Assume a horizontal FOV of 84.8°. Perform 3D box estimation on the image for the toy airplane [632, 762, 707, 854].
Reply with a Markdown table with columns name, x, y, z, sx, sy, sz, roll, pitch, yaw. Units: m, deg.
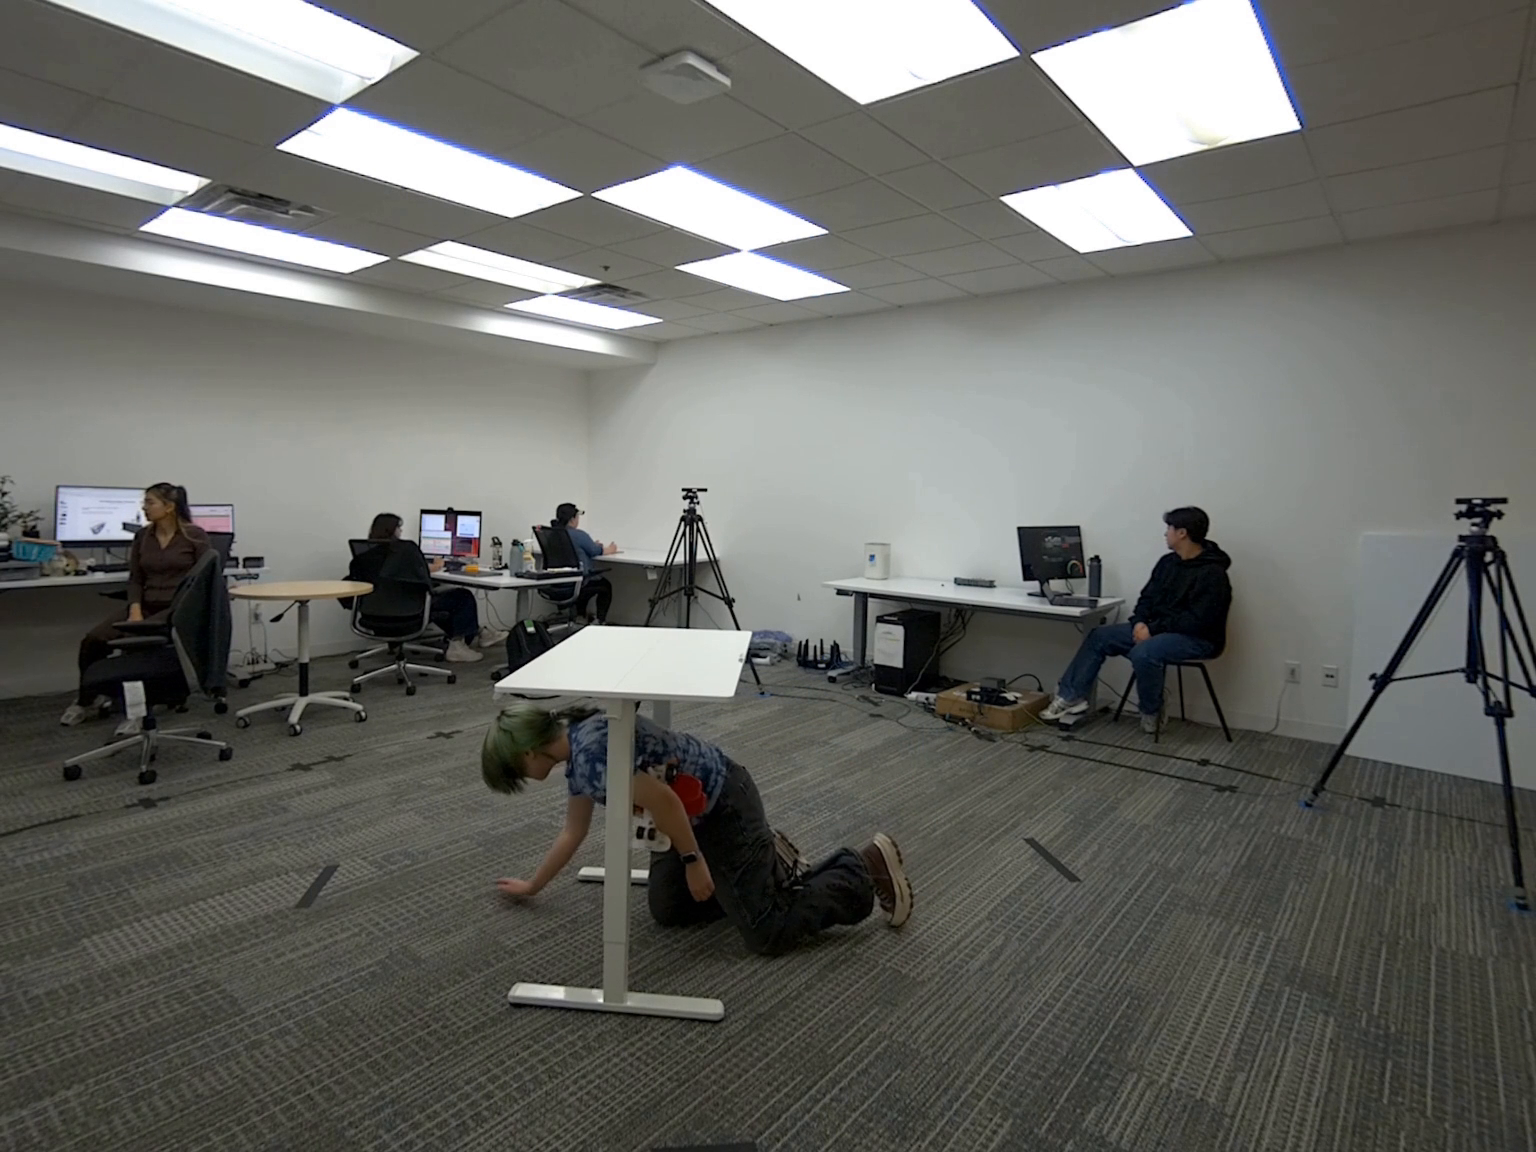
| name | x | y | z | sx | sy | sz | roll | pitch | yaw |
| --- | --- | --- | --- | --- | --- | --- | --- | --- | --- |
| toy airplane | -0.348 | 0.656 | 2.463 | 0.259 | 0.260 | 0.151 | 26 | -22 | 22 |
